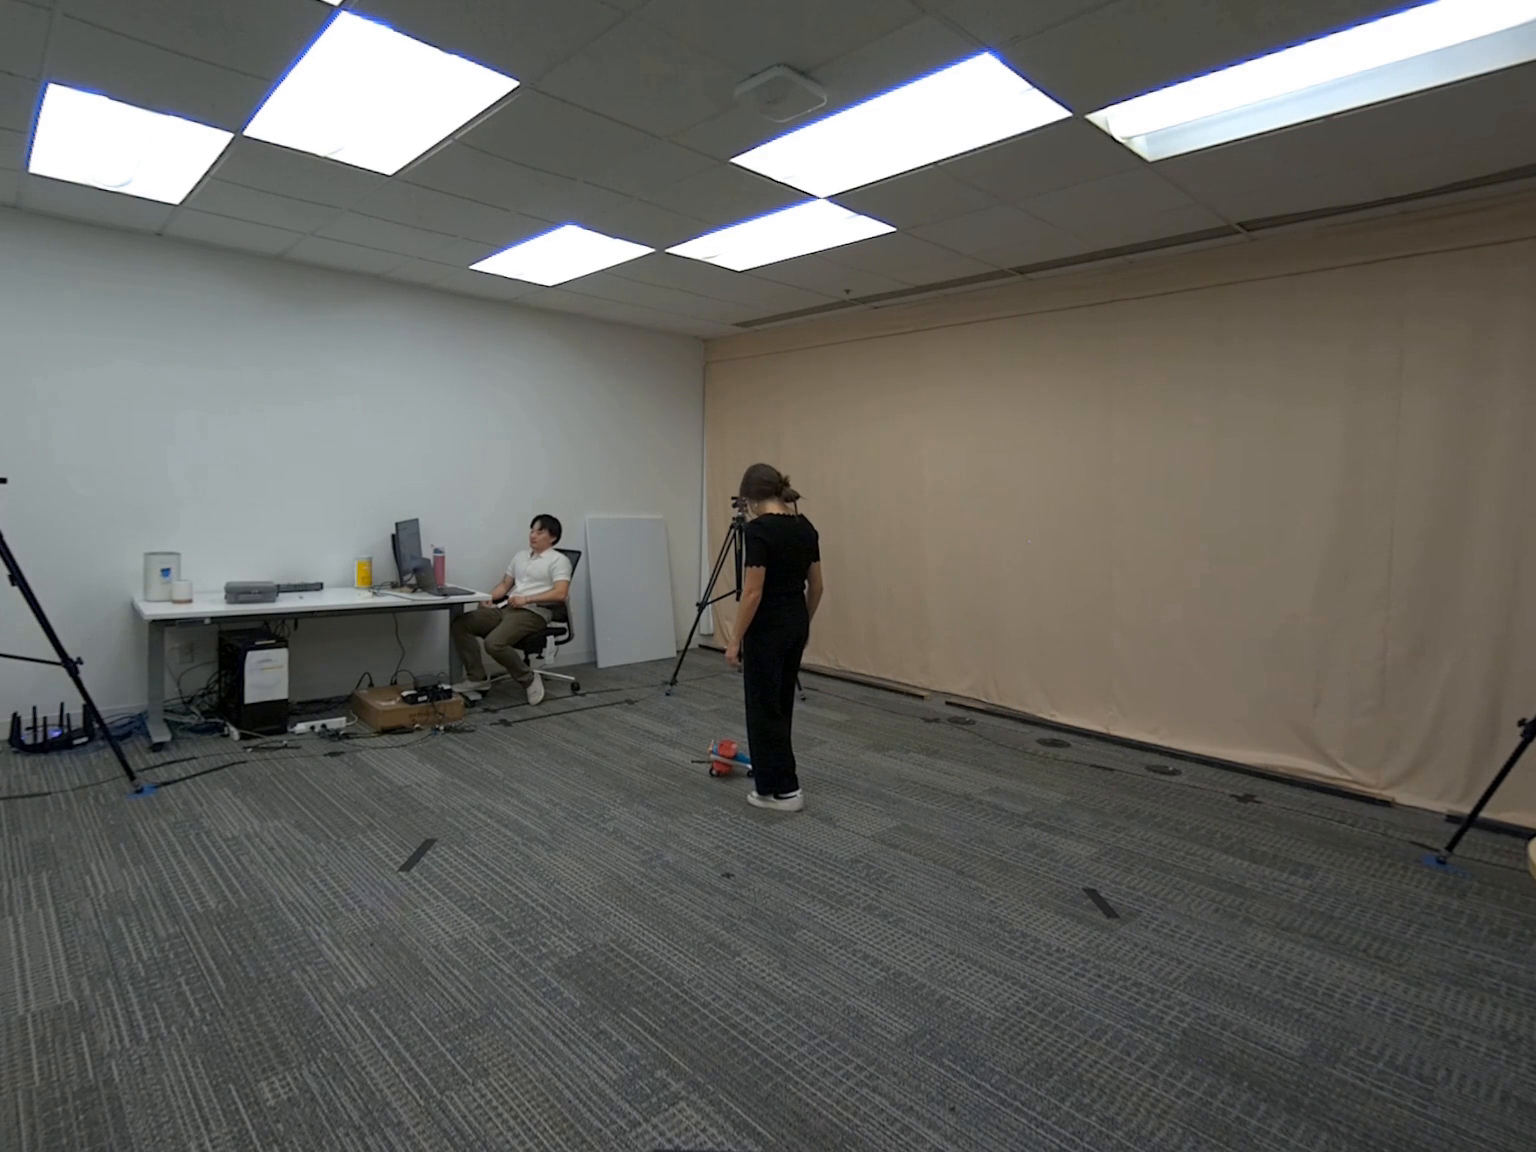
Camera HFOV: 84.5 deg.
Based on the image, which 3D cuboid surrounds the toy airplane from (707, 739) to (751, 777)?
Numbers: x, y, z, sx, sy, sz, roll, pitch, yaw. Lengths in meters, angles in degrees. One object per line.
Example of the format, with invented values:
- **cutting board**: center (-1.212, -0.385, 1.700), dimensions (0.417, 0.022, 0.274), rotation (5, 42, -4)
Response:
- **toy airplane**: center (-0.183, 0.921, 4.259), dimensions (0.255, 0.156, 0.256), rotation (-2, 6, -23)
